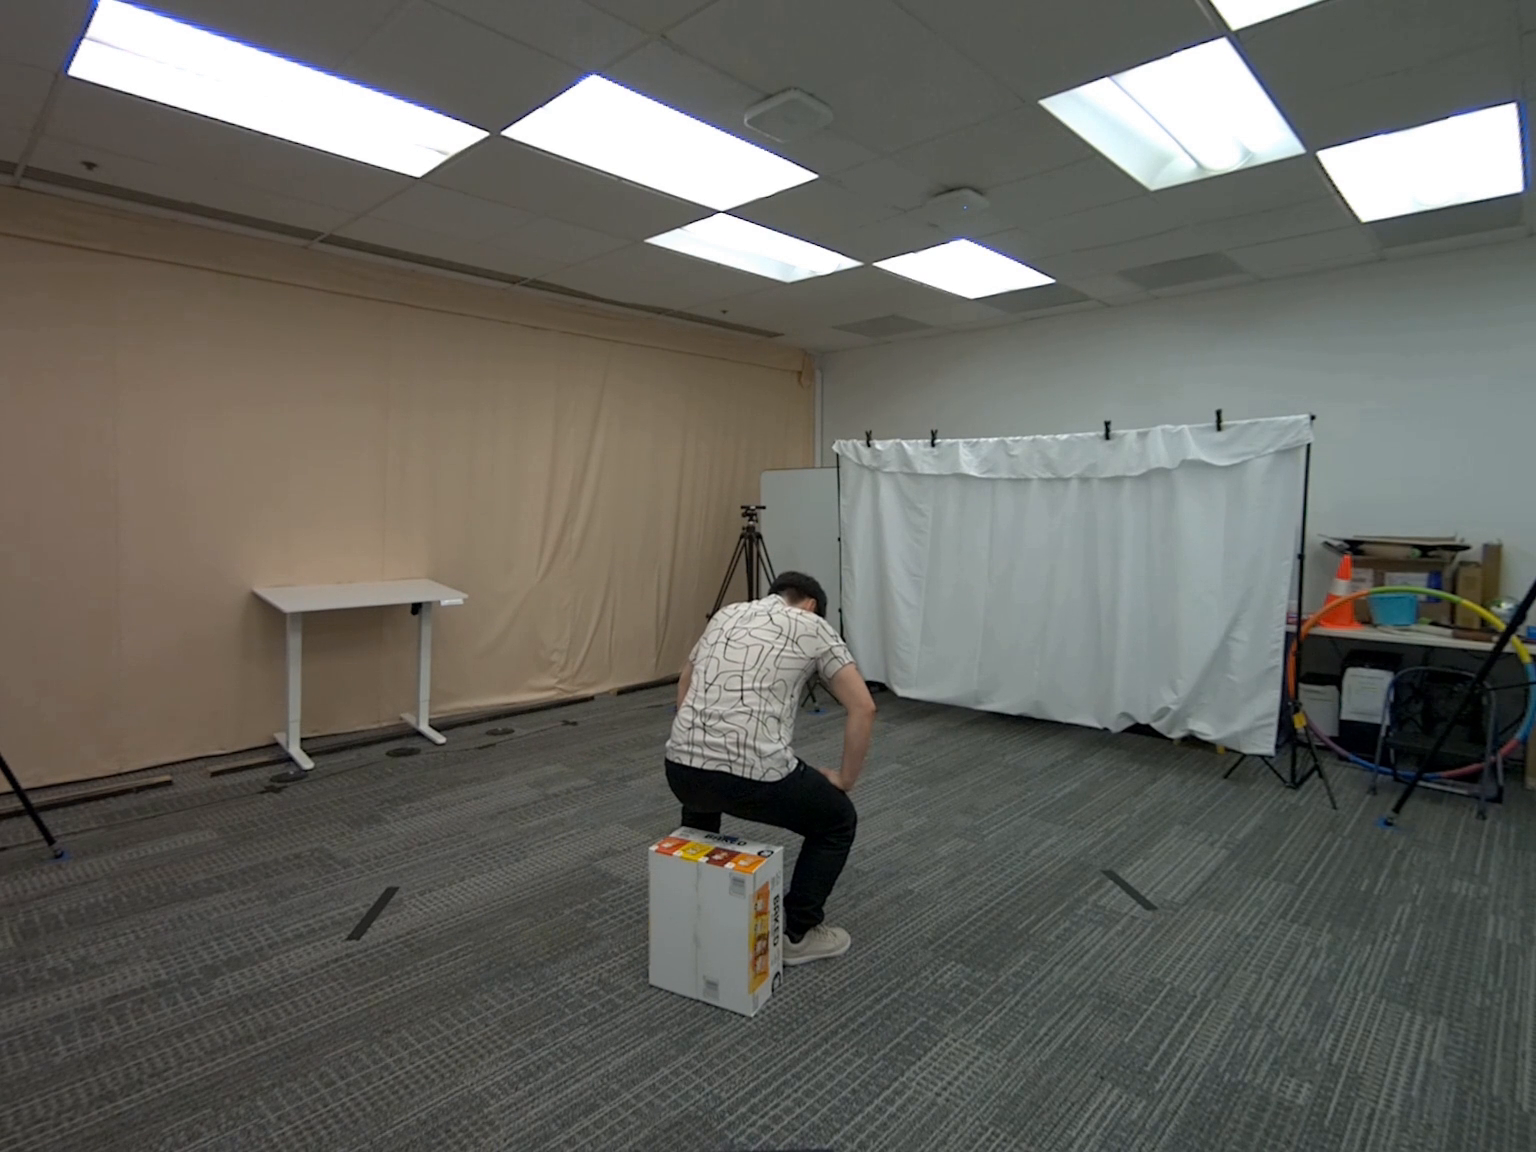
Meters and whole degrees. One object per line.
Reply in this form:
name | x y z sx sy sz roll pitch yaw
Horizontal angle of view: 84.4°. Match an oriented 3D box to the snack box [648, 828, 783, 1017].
snack box | -0.149 0.988 2.438 0.350 0.404 0.200 2 4 28
